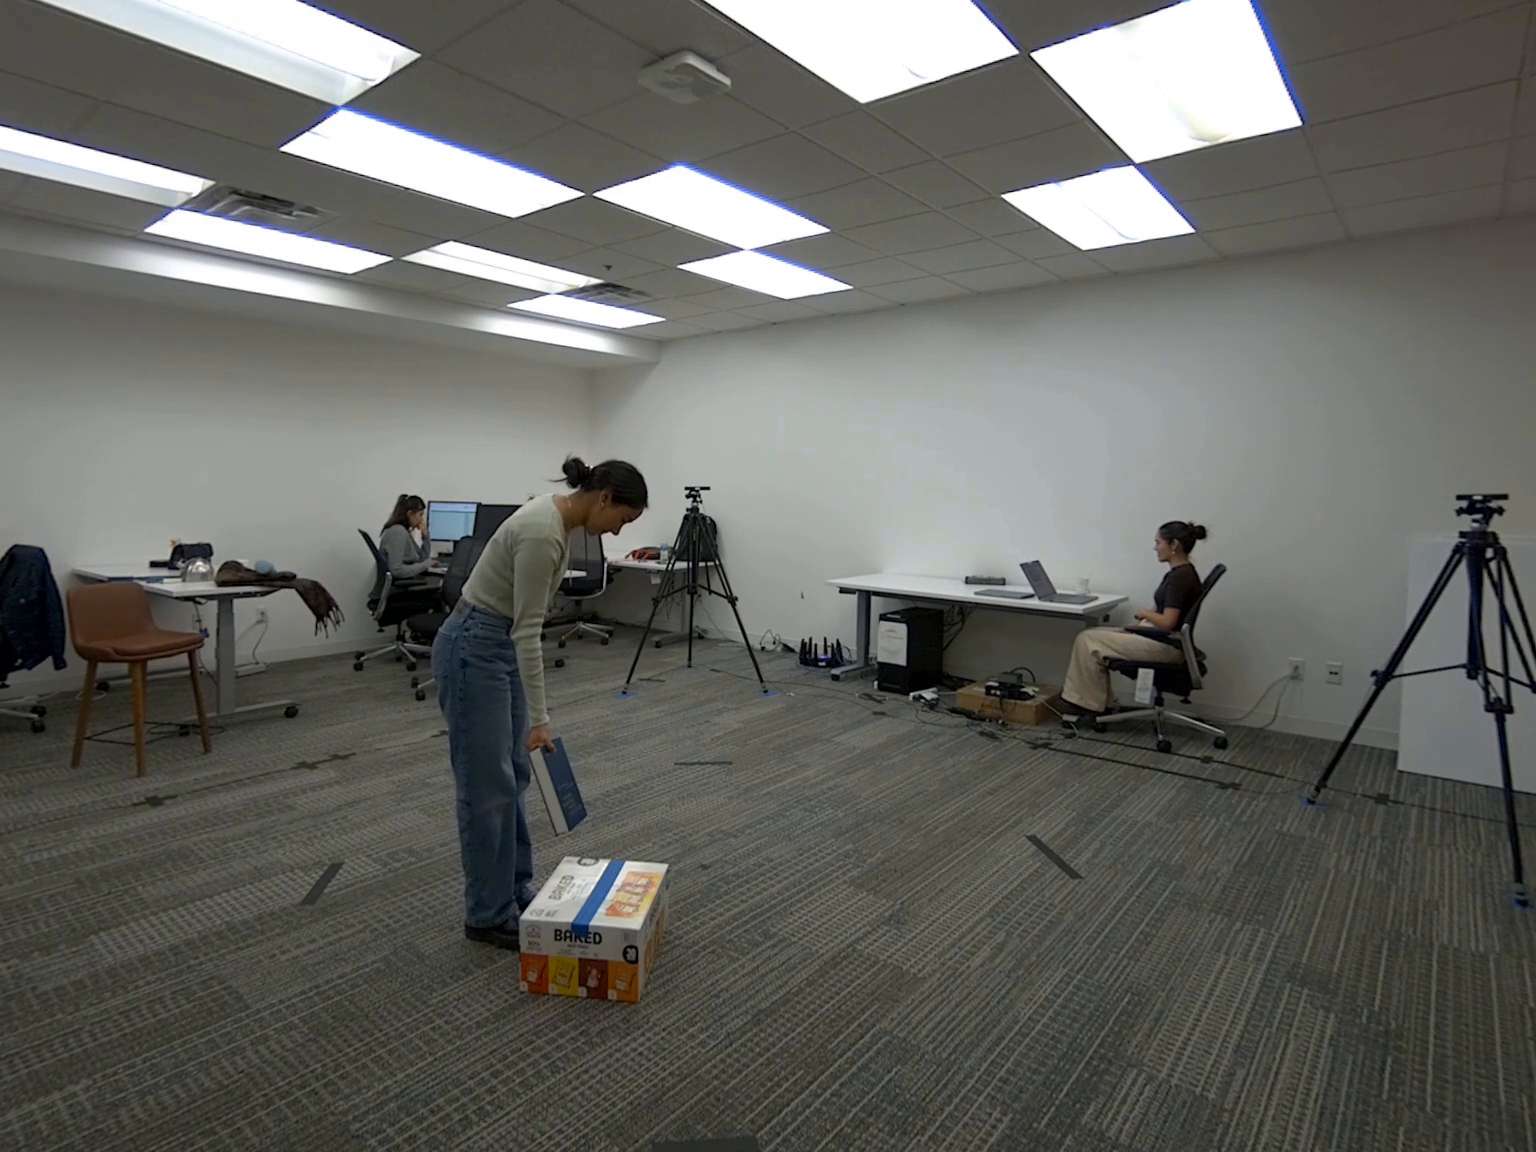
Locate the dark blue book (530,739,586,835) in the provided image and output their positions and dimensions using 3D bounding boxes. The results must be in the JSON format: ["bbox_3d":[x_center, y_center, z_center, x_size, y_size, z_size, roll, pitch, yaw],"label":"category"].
[{"bbox_3d":[-0.616,0.601,2.440,0.045,0.246,0.162,-18,-4,5],"label":"dark blue book"}]
